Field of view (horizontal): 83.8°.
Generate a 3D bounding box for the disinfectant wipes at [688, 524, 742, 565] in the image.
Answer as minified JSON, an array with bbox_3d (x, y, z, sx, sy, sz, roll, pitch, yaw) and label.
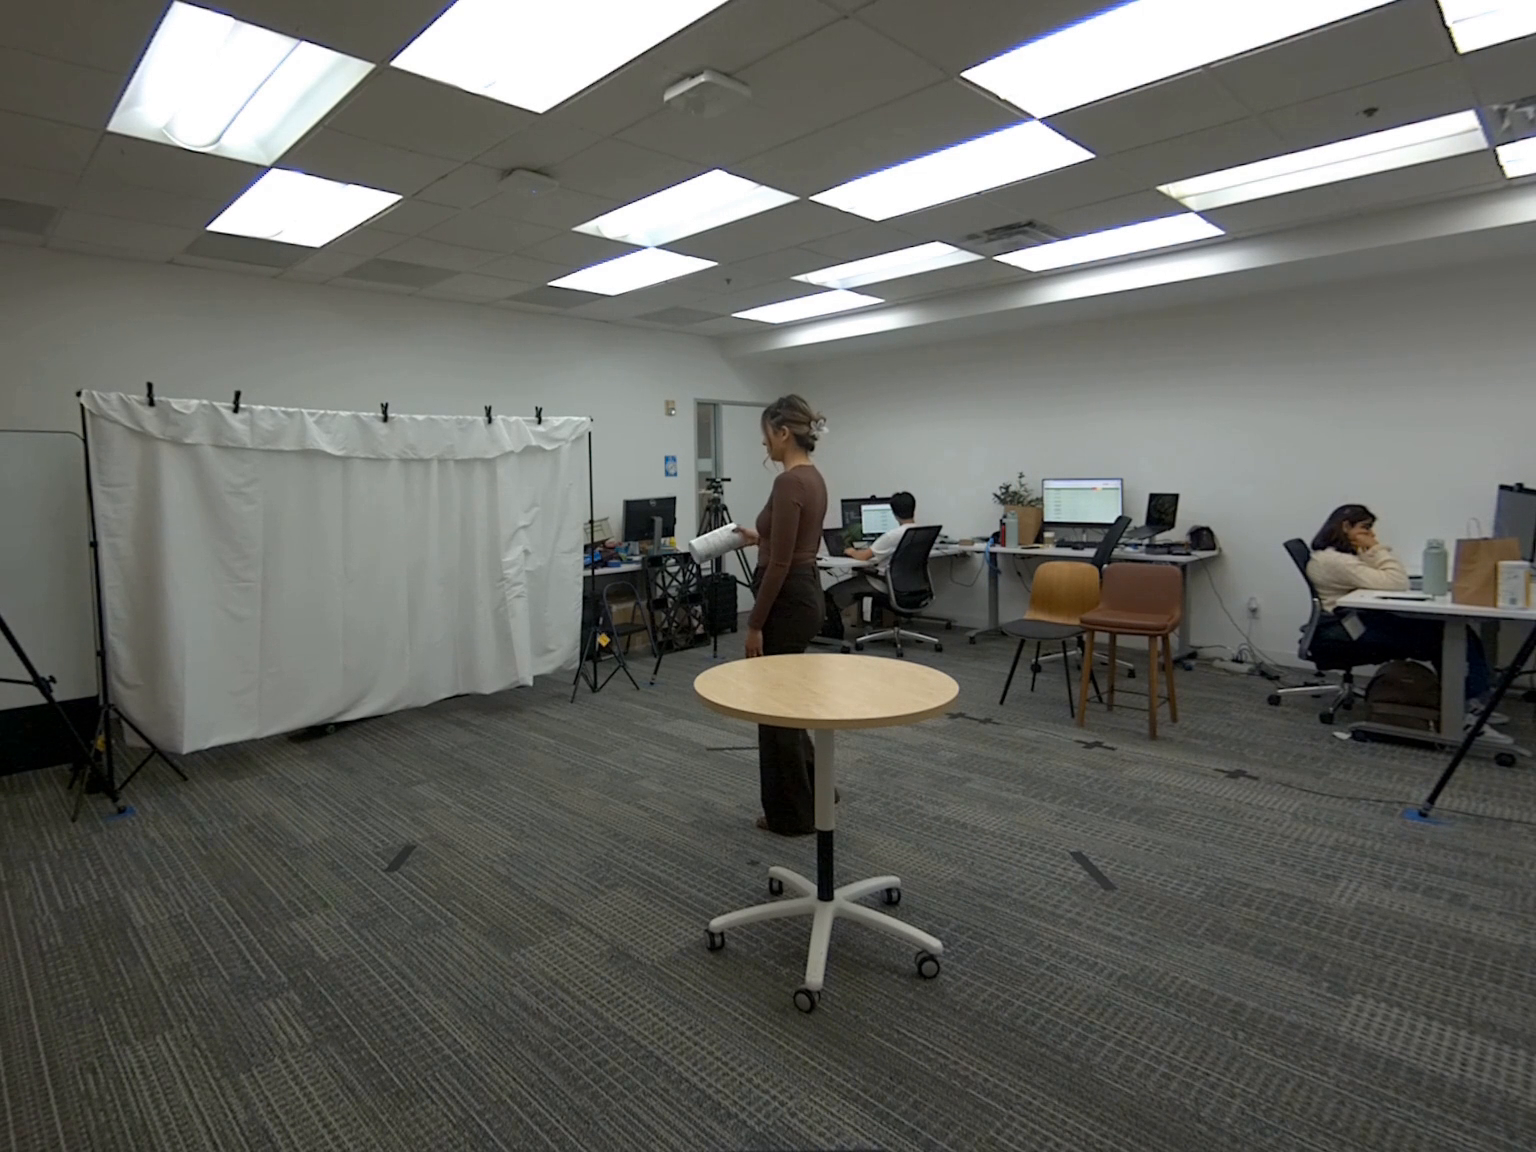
[{"bbox_3d":[-0.222,-0.140,3.666,0.216,0.116,0.120,-25,12,-14],"label":"disinfectant wipes"}]
